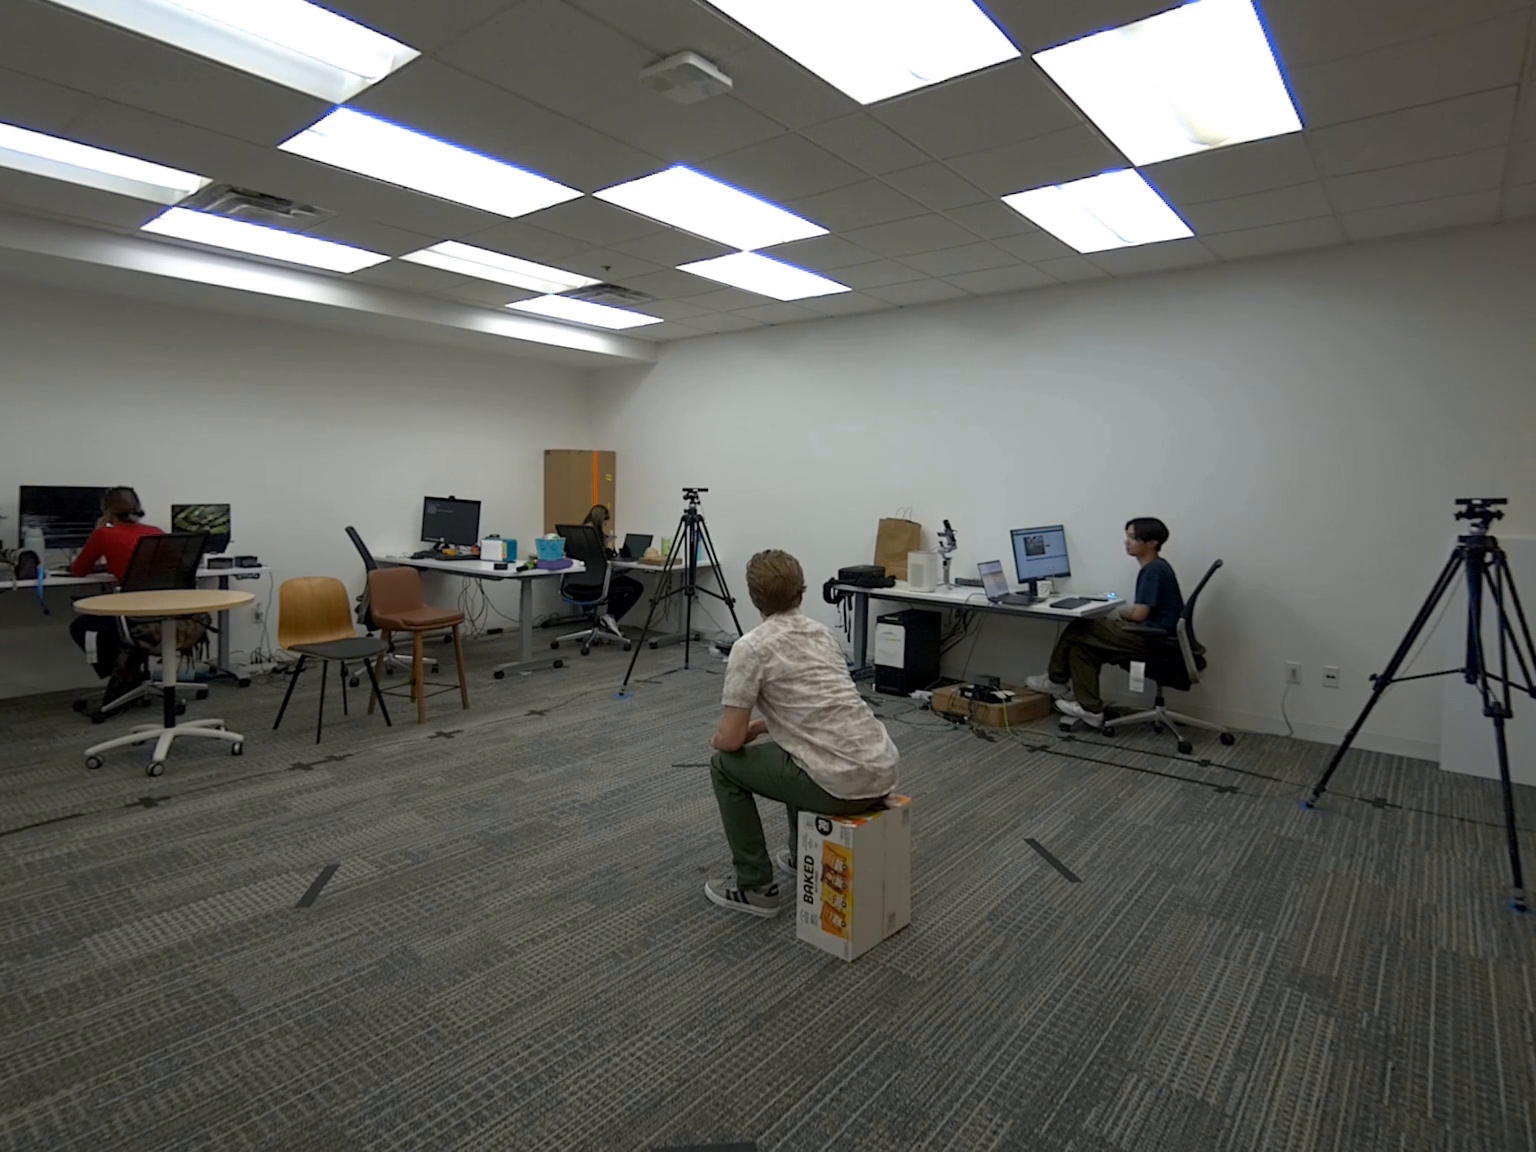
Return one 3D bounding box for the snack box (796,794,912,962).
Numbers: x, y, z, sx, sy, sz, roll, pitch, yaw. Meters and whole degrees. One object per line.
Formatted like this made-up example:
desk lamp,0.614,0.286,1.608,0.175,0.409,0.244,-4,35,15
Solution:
snack box,0.274,0.921,2.690,0.212,0.405,0.330,2,2,42
